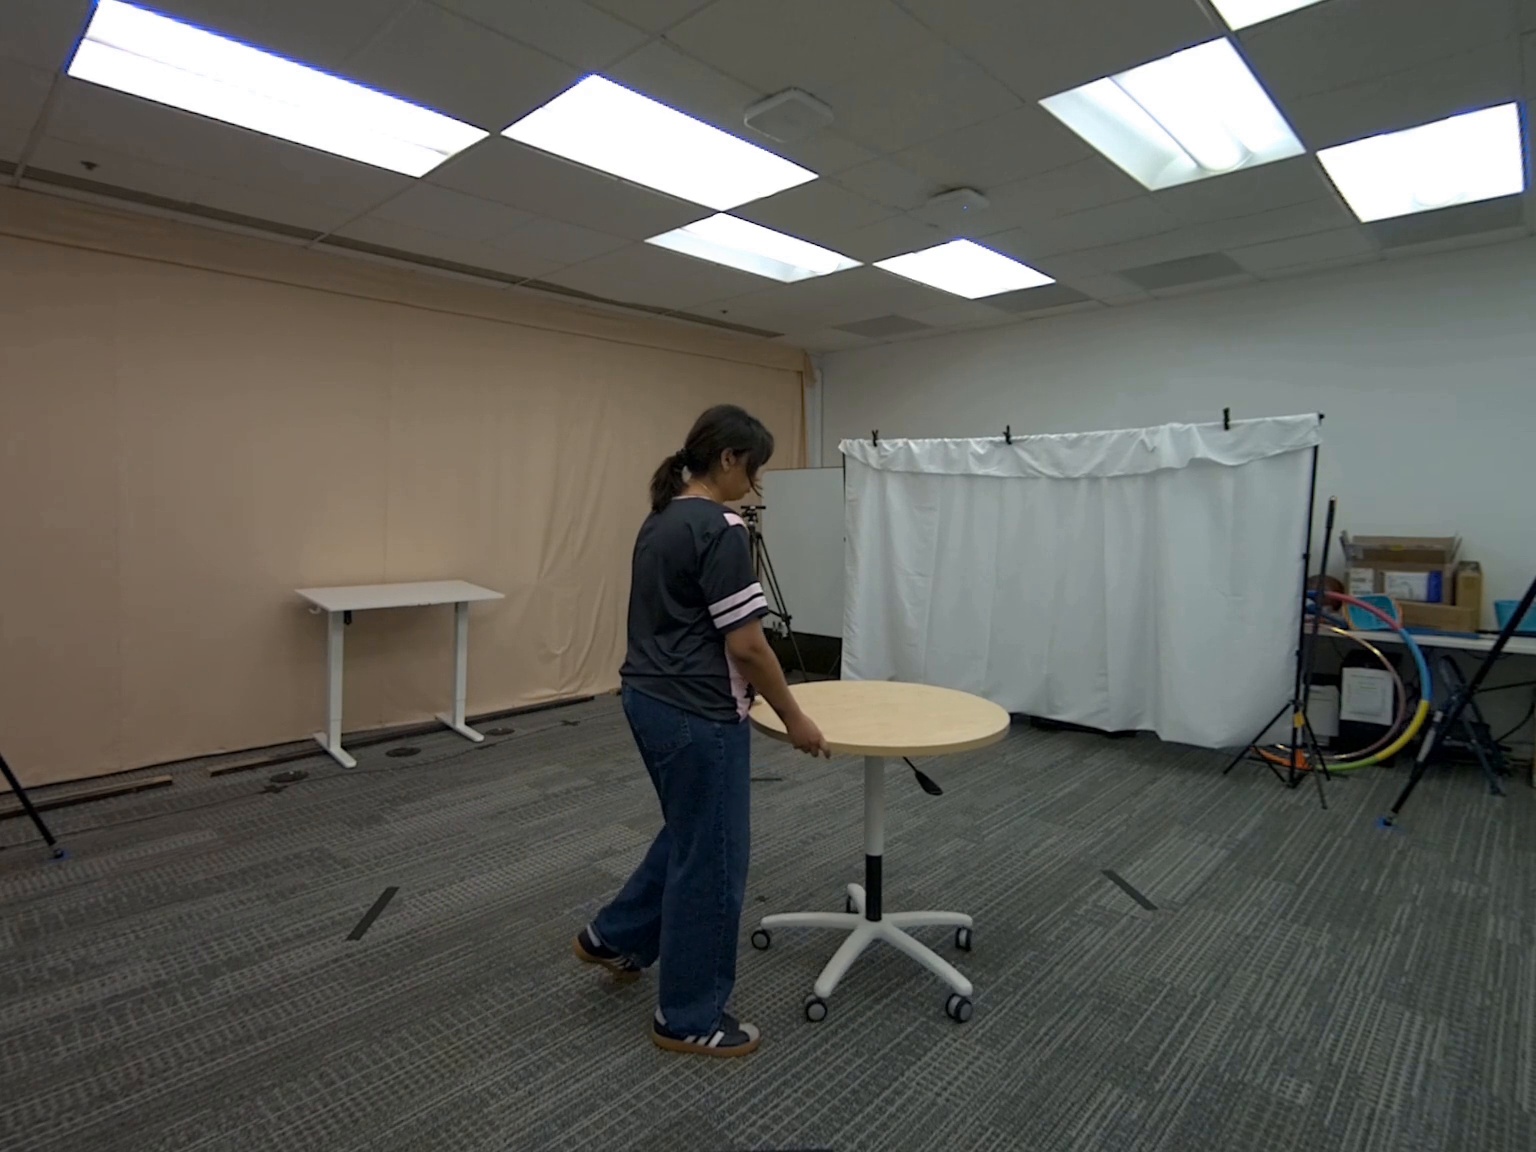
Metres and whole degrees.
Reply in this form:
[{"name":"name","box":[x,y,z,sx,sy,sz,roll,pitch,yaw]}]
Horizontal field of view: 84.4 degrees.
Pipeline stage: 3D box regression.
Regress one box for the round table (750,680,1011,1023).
[{"name":"round table","box":[0.324,0.786,2.550,0.784,0.784,0.788,0,4,-2]}]
